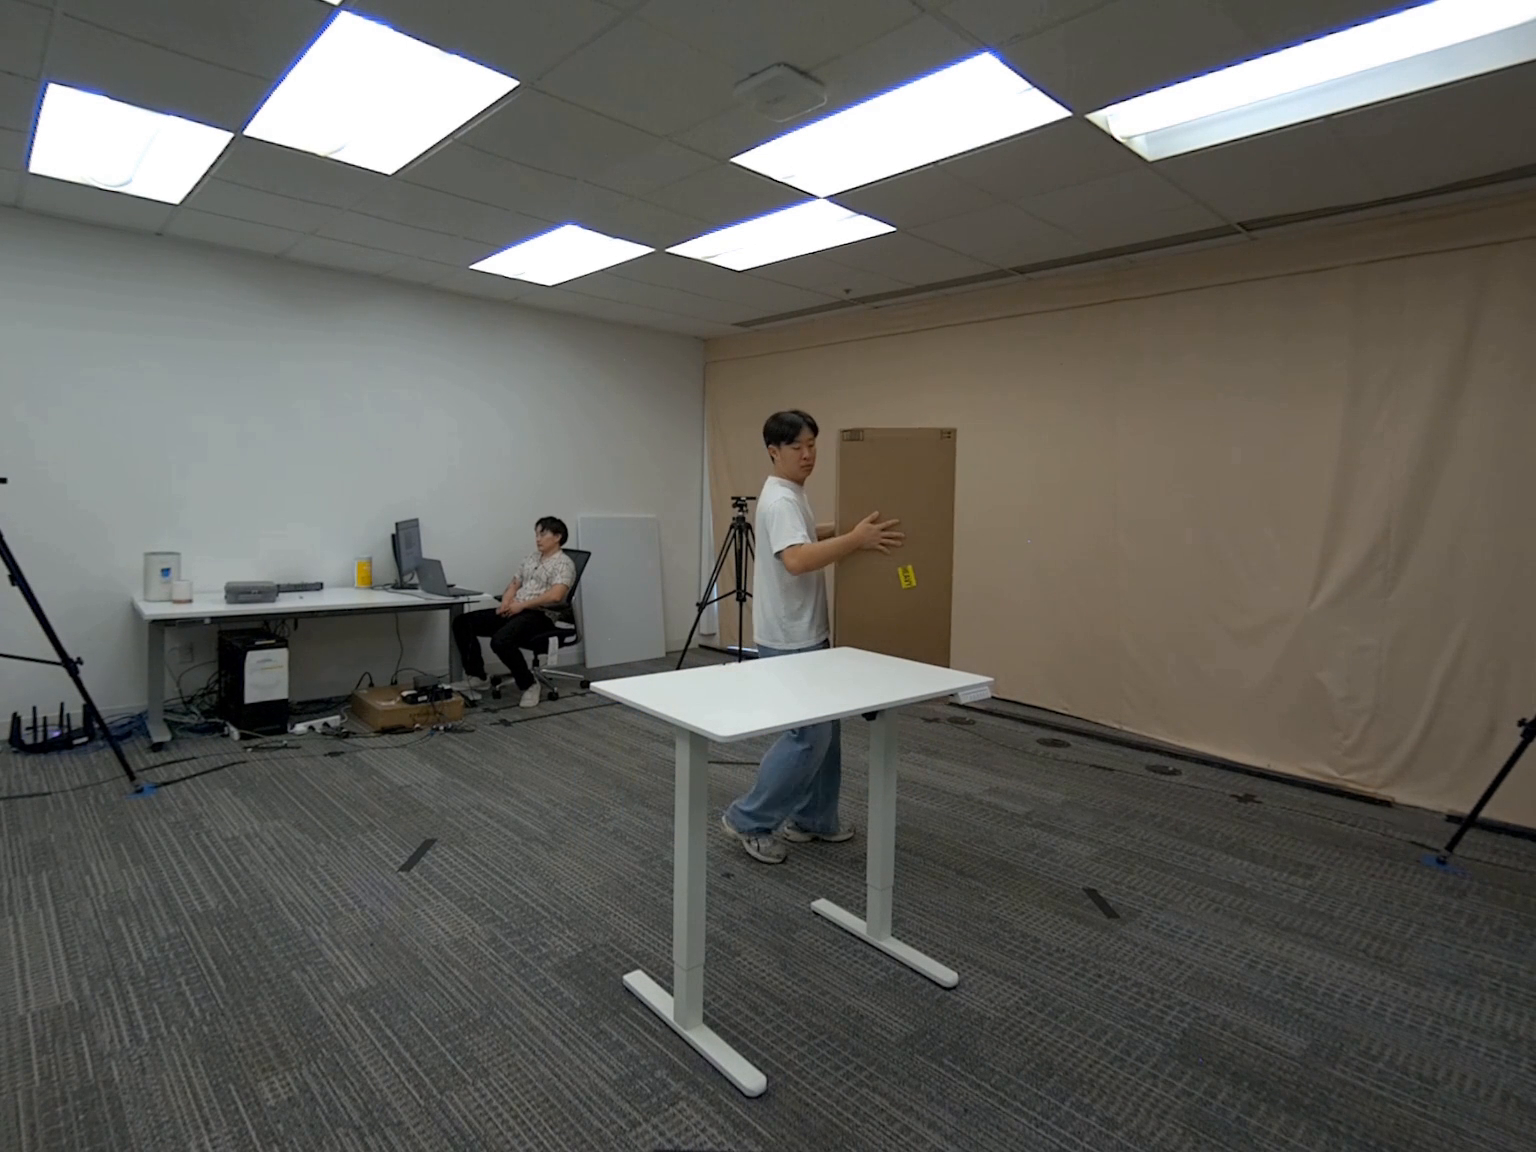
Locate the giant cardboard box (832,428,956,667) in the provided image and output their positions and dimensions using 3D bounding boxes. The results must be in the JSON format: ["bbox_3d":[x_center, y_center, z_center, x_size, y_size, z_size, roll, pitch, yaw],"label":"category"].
[{"bbox_3d":[0.480,-0.075,3.366,0.428,1.020,0.578,1,7,5],"label":"giant cardboard box"}]
